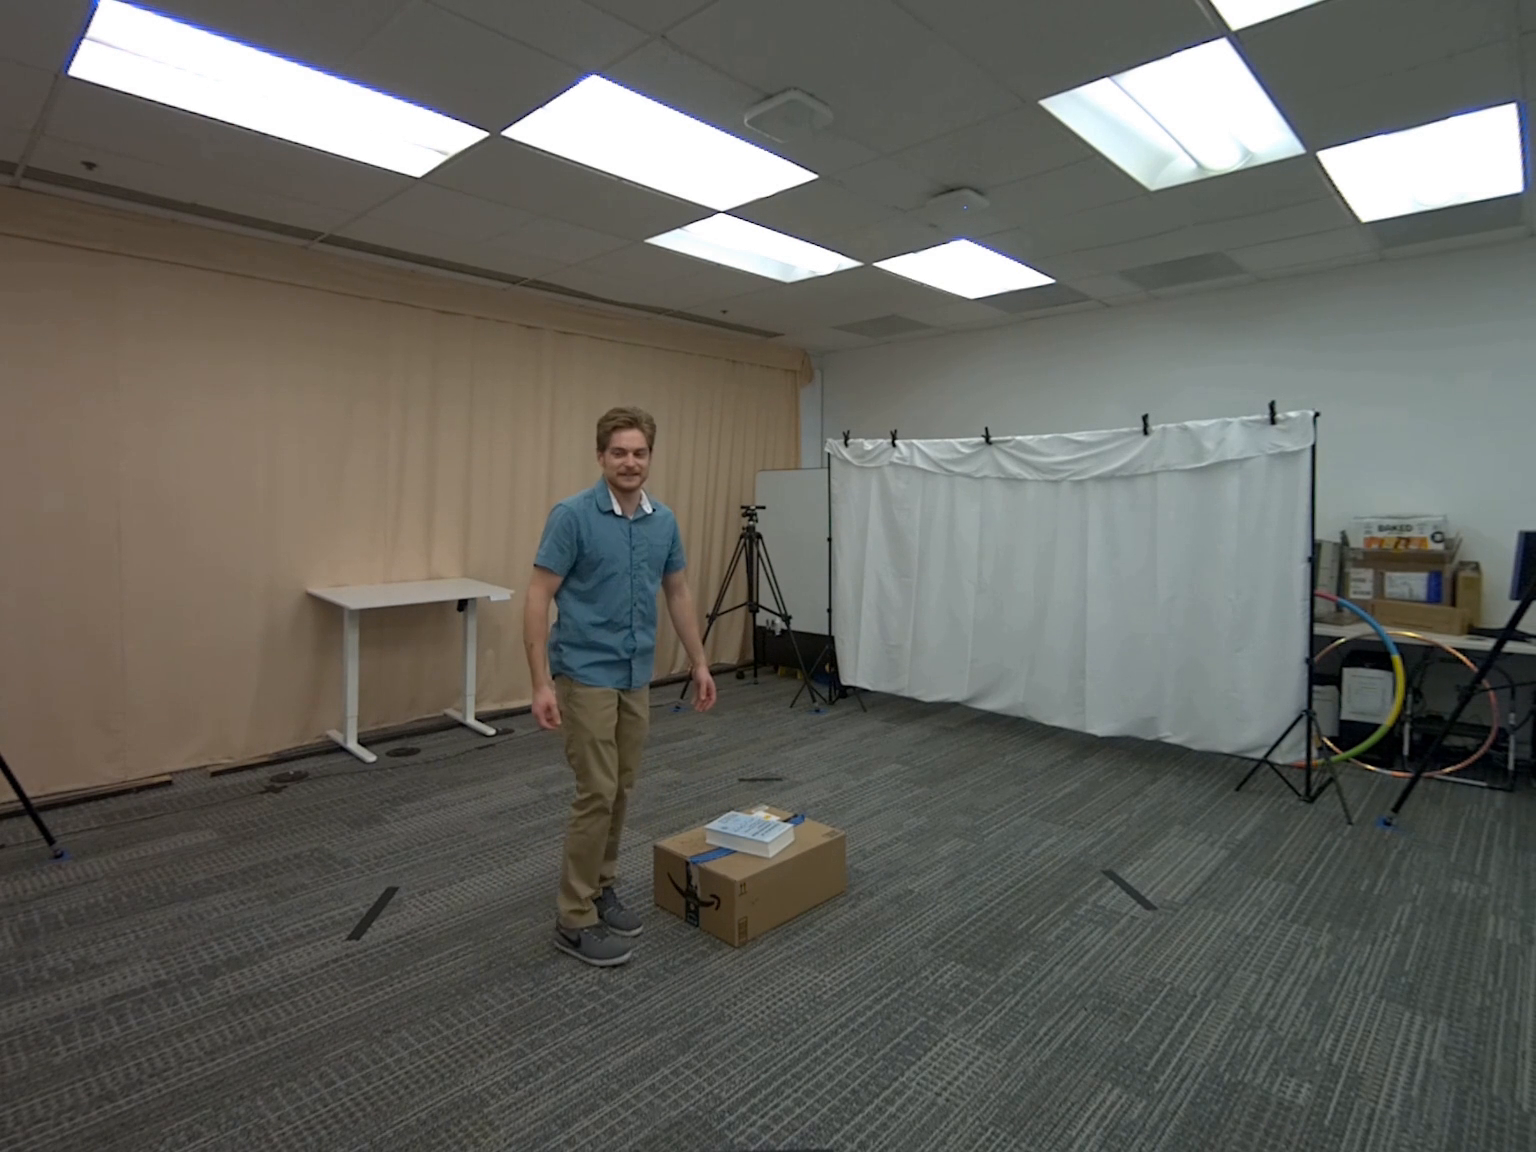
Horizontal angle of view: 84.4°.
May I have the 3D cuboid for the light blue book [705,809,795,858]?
[{"bbox_3d":[-0.060,0.904,2.963,0.269,0.059,0.186,2,6,31],"label":"light blue book"}]
